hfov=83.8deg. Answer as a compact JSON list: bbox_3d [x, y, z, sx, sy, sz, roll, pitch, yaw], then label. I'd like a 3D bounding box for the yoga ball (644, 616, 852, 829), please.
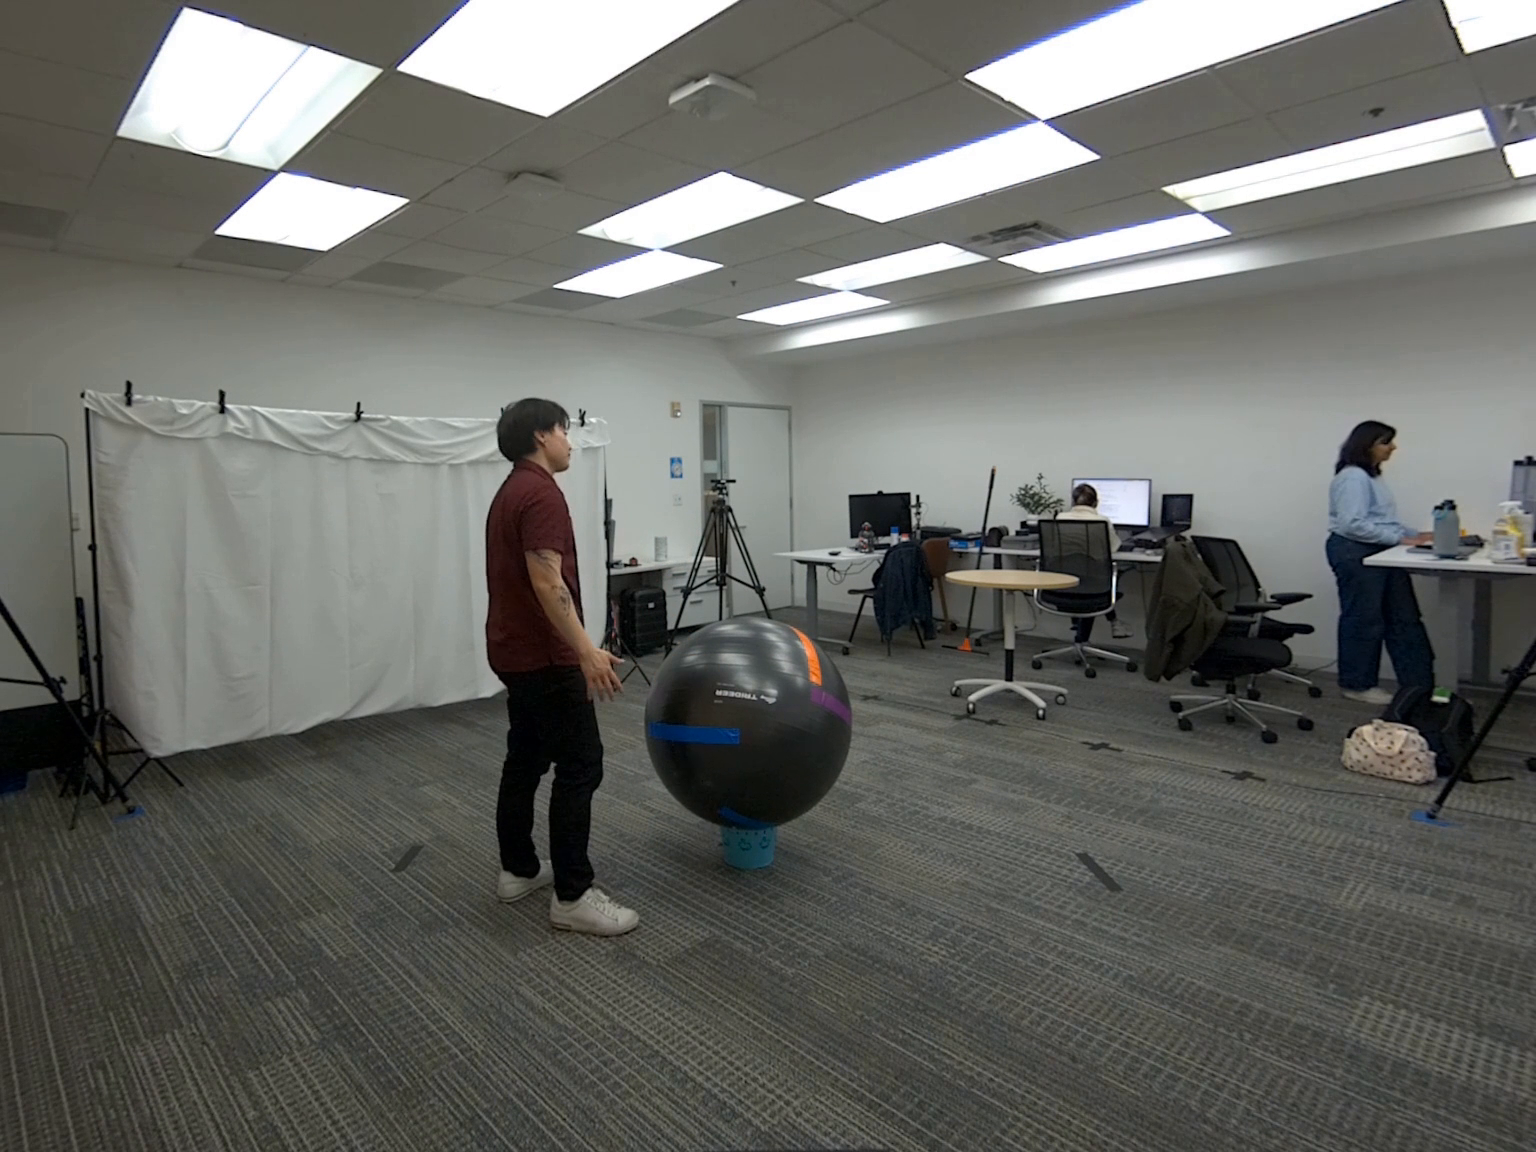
[{"bbox_3d":[-0.072,0.536,3.133,0.757,0.755,0.762,-1,5,-2],"label":"yoga ball"}]
